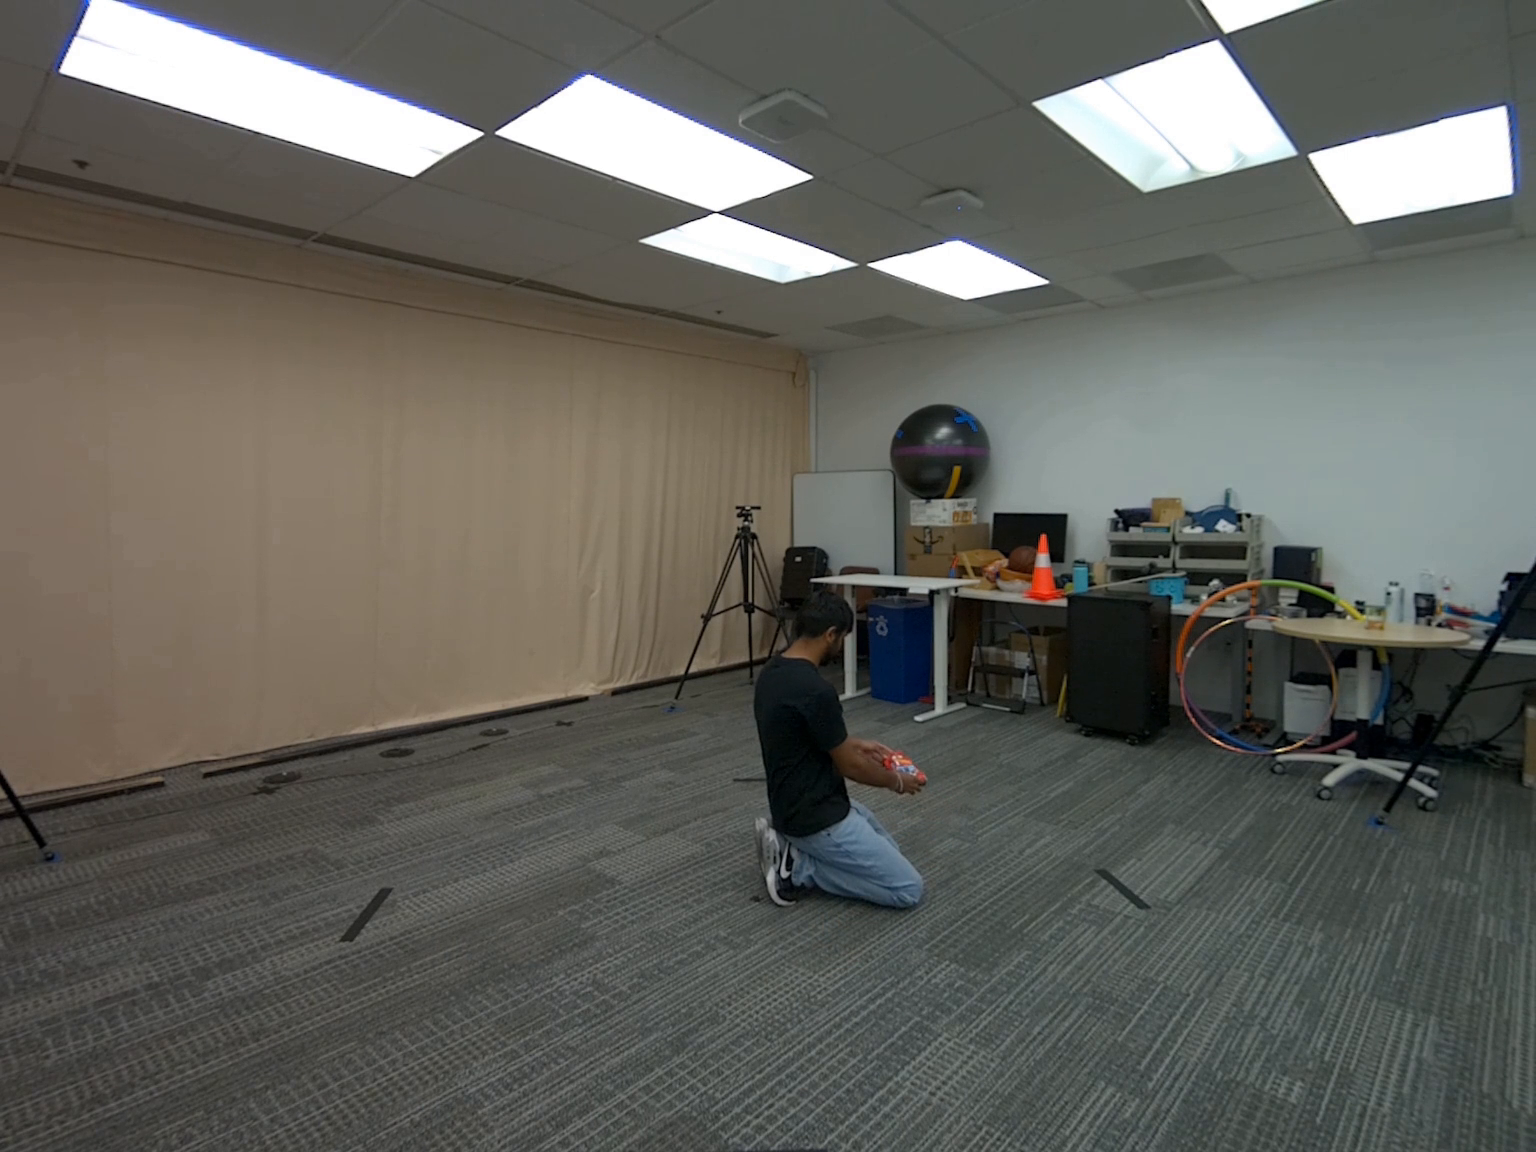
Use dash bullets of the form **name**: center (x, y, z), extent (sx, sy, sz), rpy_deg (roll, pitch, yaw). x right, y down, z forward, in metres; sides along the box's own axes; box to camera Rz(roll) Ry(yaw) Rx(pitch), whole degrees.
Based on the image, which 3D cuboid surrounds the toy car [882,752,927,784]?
- **toy car**: center (0.535, 0.769, 3.305), extent (0.130, 0.082, 0.258), rpy_deg (-2, 16, -6)
